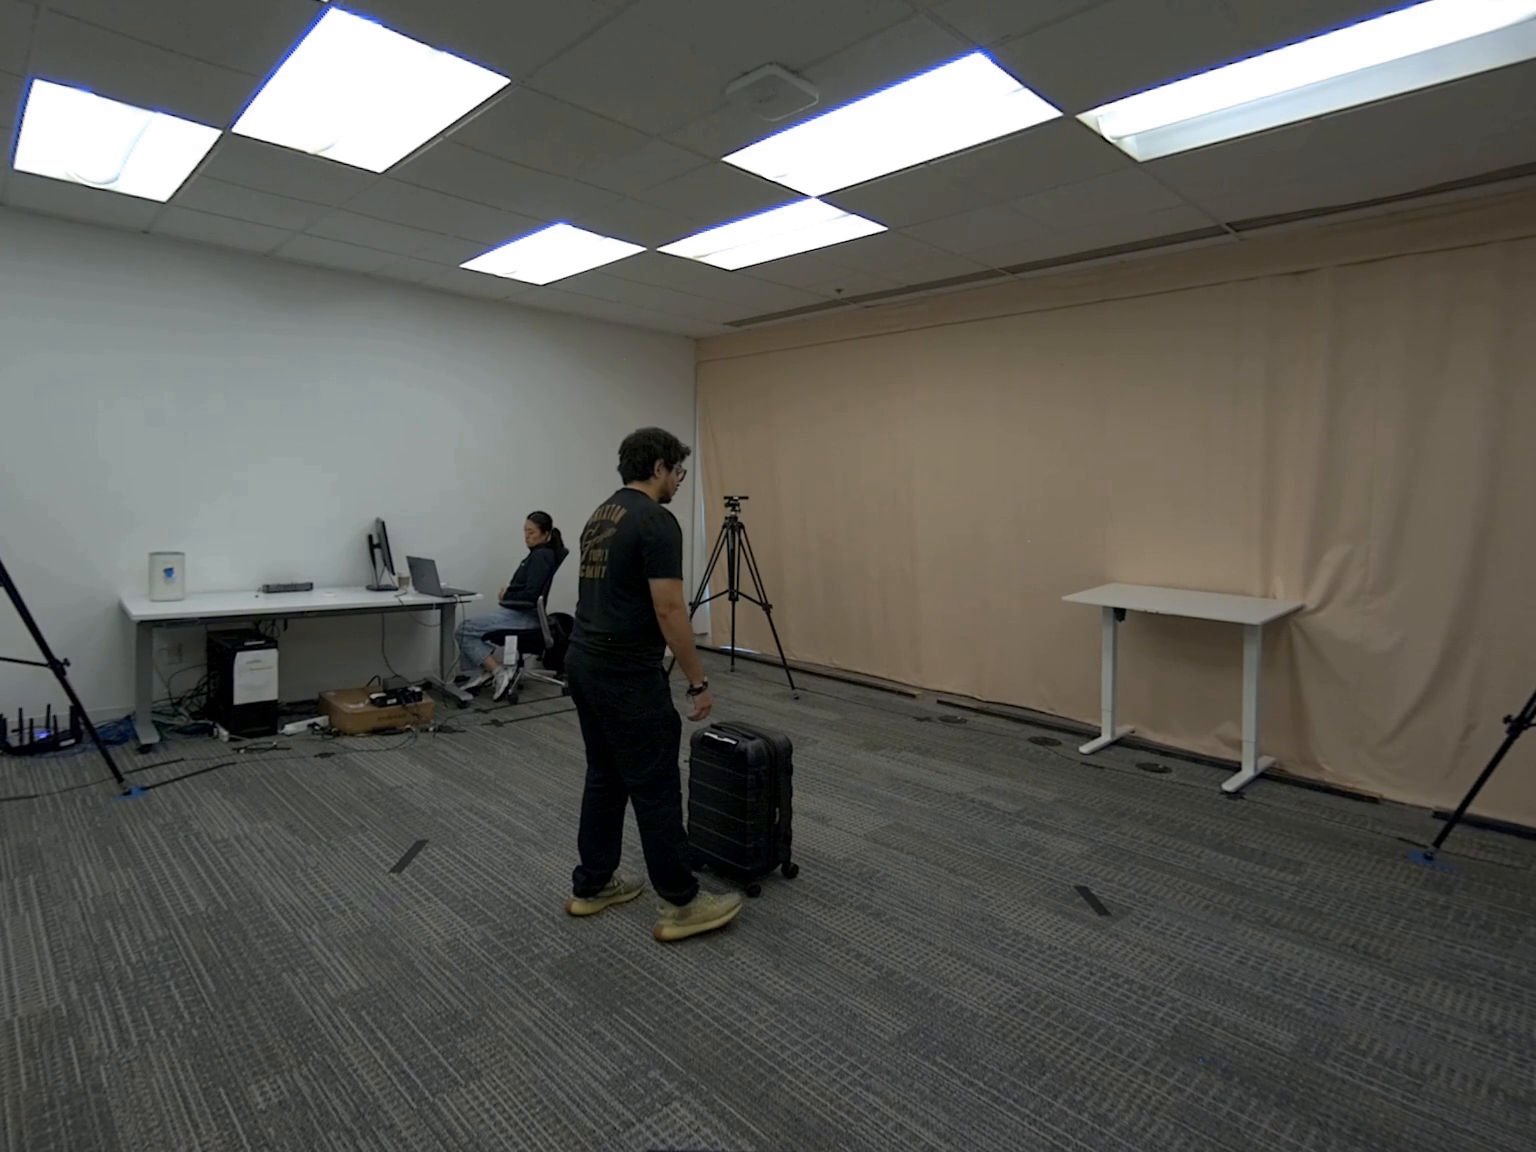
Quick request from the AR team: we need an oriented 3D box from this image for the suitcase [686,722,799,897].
[{"bbox_3d":[-0.106,0.829,3.112,0.243,0.548,0.385,-3,4,-45],"label":"suitcase"}]
